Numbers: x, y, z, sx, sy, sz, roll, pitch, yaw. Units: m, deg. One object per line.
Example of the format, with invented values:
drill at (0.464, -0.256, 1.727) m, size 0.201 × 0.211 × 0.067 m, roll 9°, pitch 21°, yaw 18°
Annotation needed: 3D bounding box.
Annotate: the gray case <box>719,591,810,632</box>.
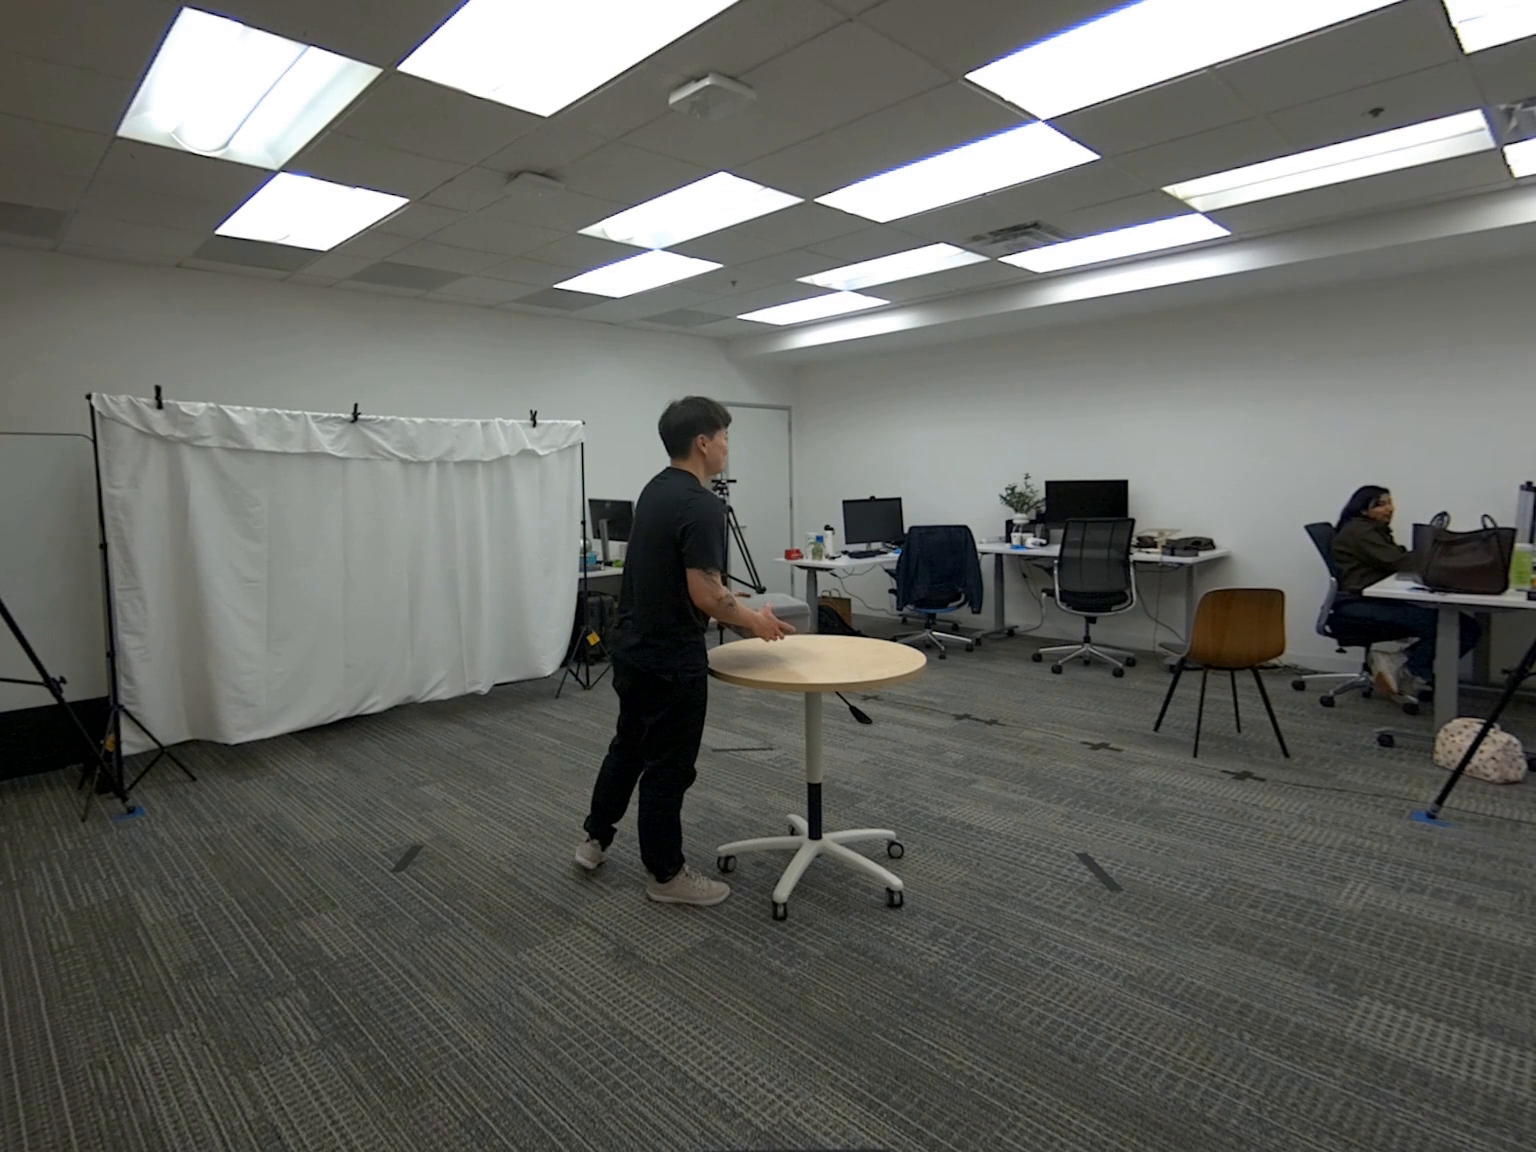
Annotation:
gray case at (-0.020, 0.135, 2.925) m, size 0.256 × 0.103 × 0.263 m, roll -3°, pitch 10°, yaw -18°
